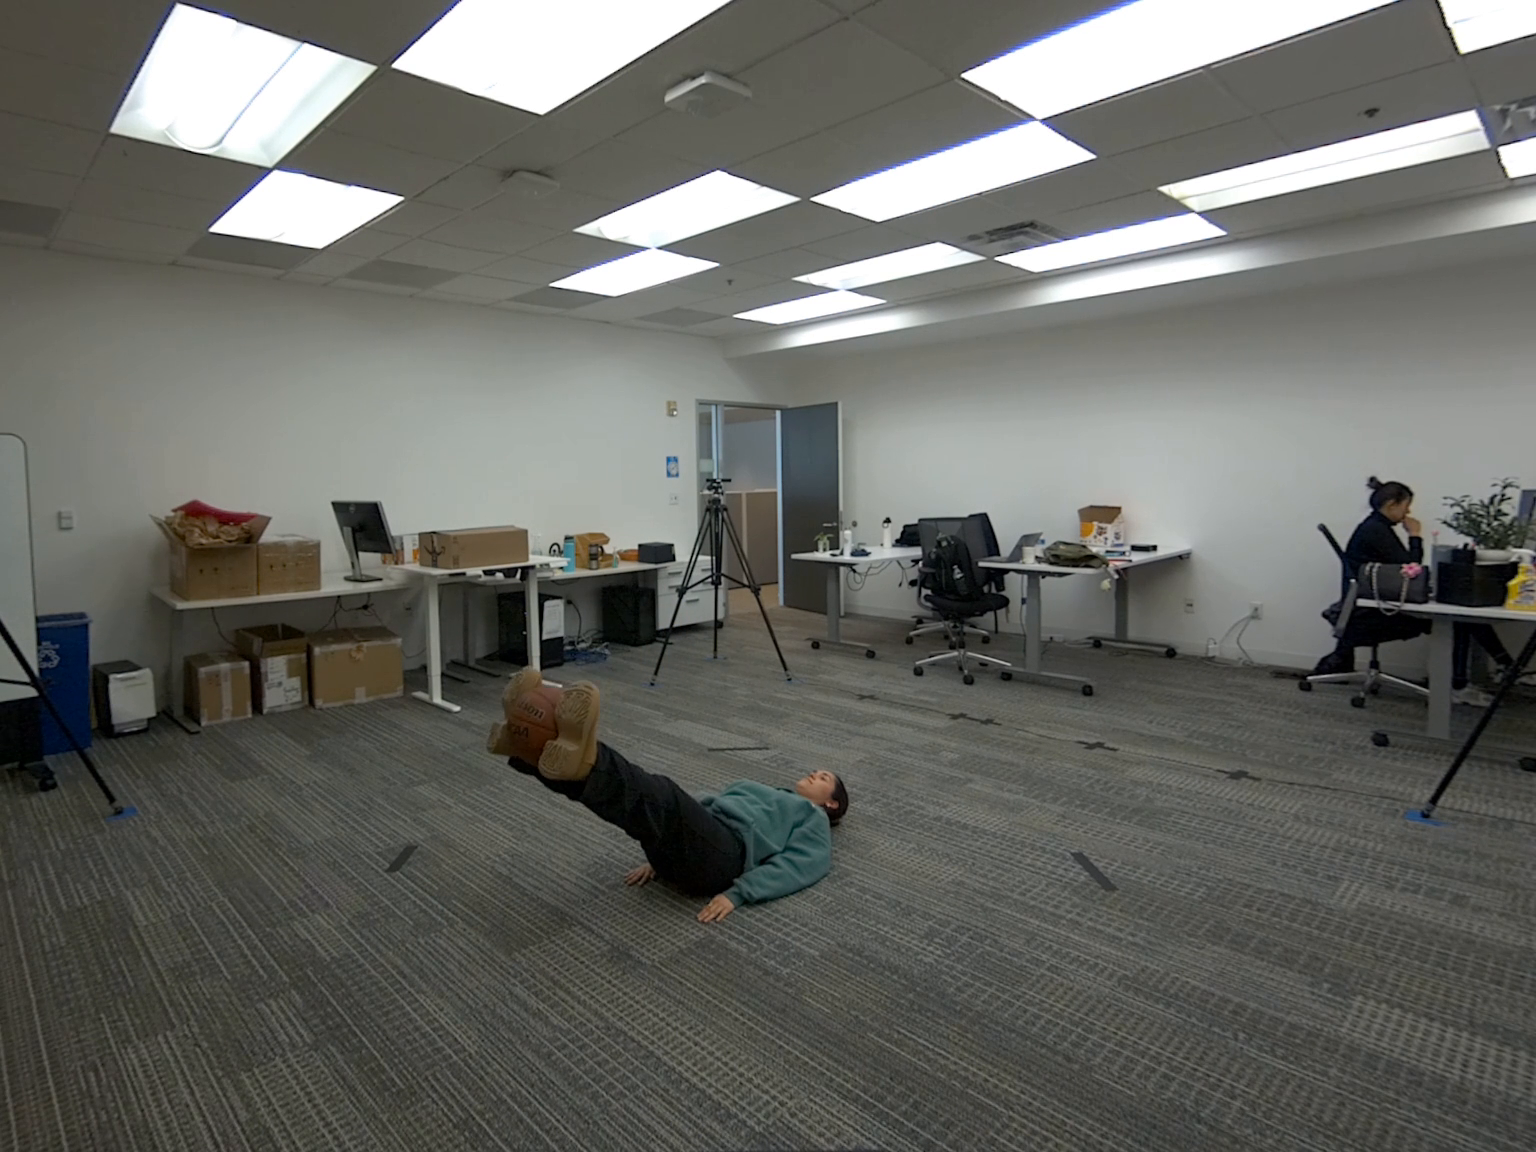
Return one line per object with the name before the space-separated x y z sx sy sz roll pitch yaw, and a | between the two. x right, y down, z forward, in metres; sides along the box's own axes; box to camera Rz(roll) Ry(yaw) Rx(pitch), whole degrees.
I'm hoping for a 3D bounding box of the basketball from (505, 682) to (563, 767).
basketball | -0.647 0.444 2.527 0.236 0.235 0.237 -1 4 -2
